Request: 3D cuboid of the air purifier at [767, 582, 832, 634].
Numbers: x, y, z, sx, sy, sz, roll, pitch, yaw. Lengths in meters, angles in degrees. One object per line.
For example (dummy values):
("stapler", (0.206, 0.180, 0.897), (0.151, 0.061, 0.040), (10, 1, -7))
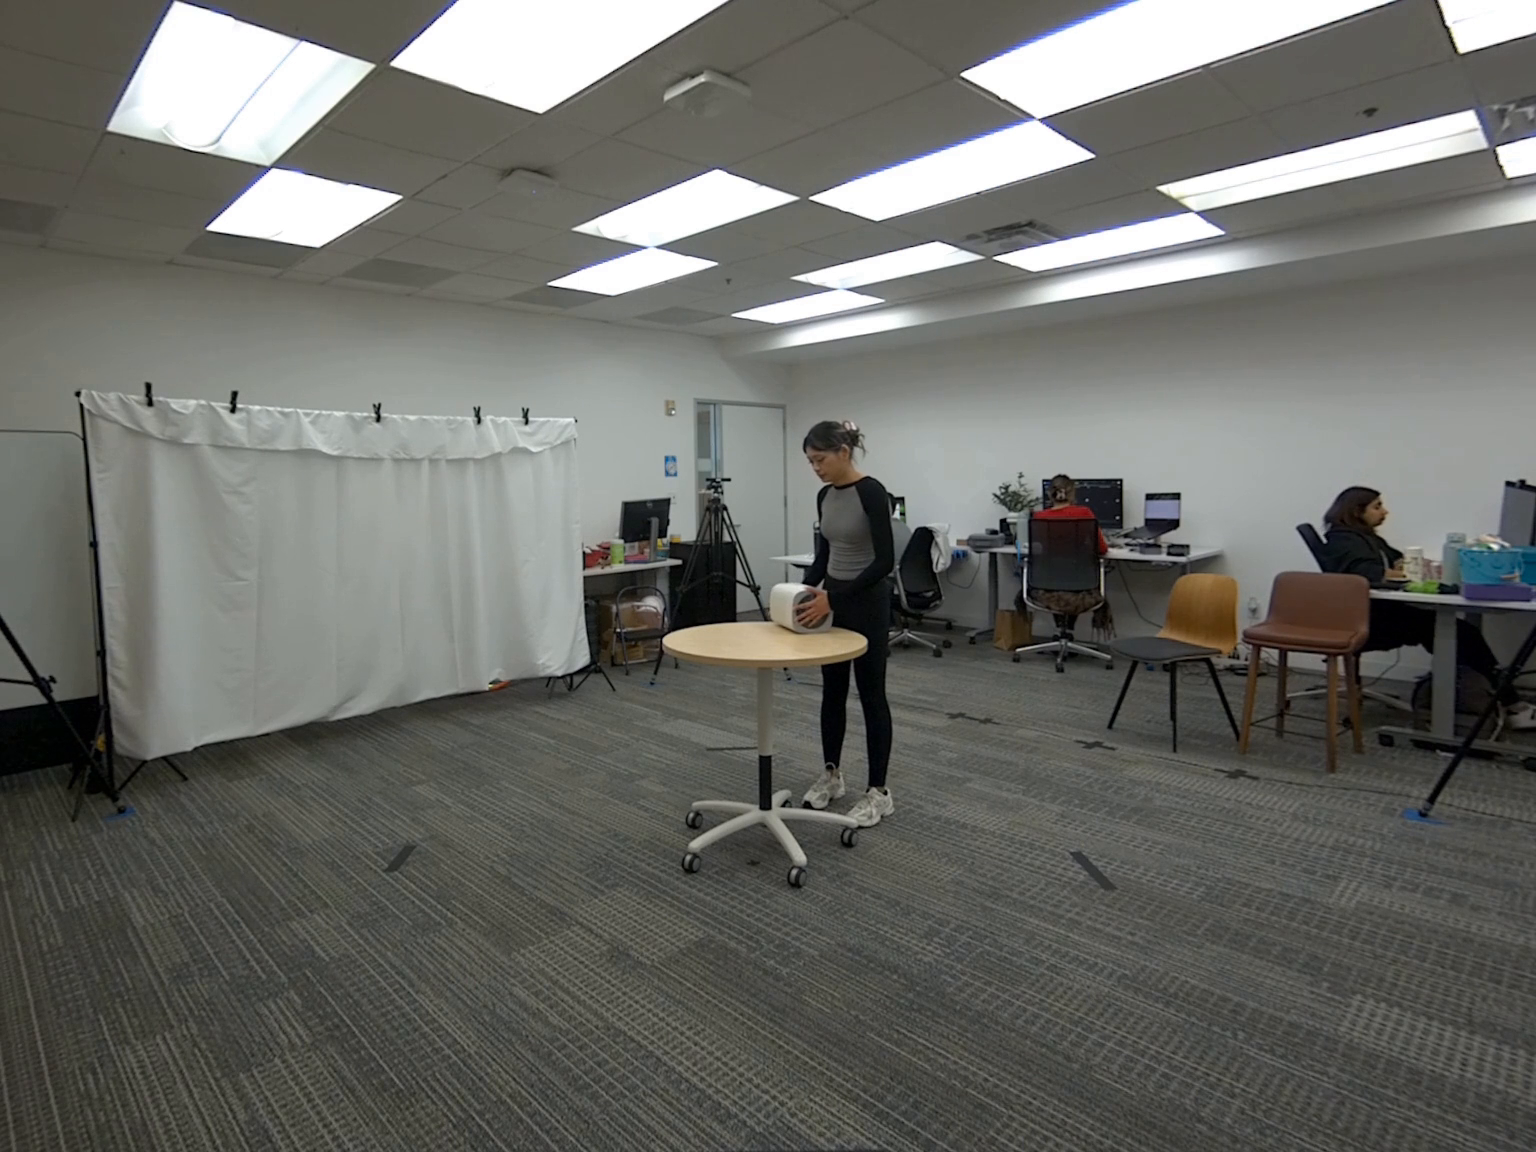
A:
("air purifier", (0.129, 0.125, 3.425), (0.168, 0.171, 0.271), (1, 5, -18))
